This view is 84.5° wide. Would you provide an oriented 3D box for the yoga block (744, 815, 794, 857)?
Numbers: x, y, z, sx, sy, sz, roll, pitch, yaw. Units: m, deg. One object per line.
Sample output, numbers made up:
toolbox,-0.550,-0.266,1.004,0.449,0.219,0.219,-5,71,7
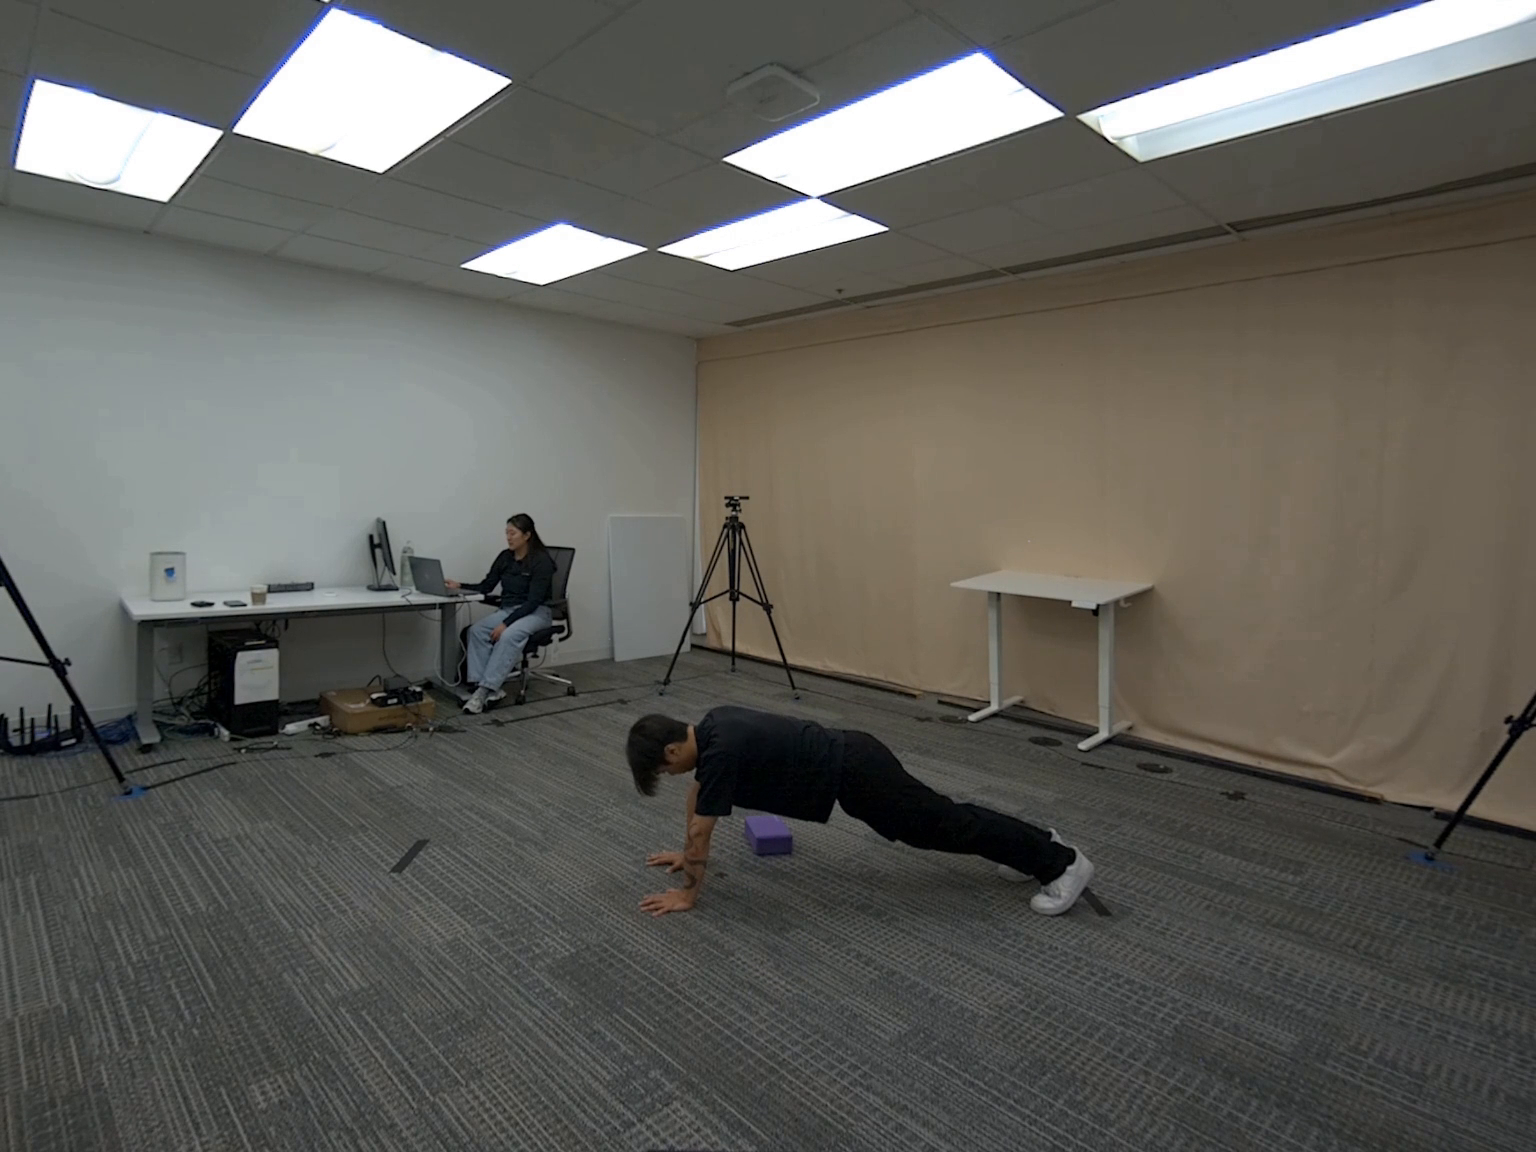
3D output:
yoga block,-0.009,1.043,3.399,0.147,0.076,0.232,0,5,-13
